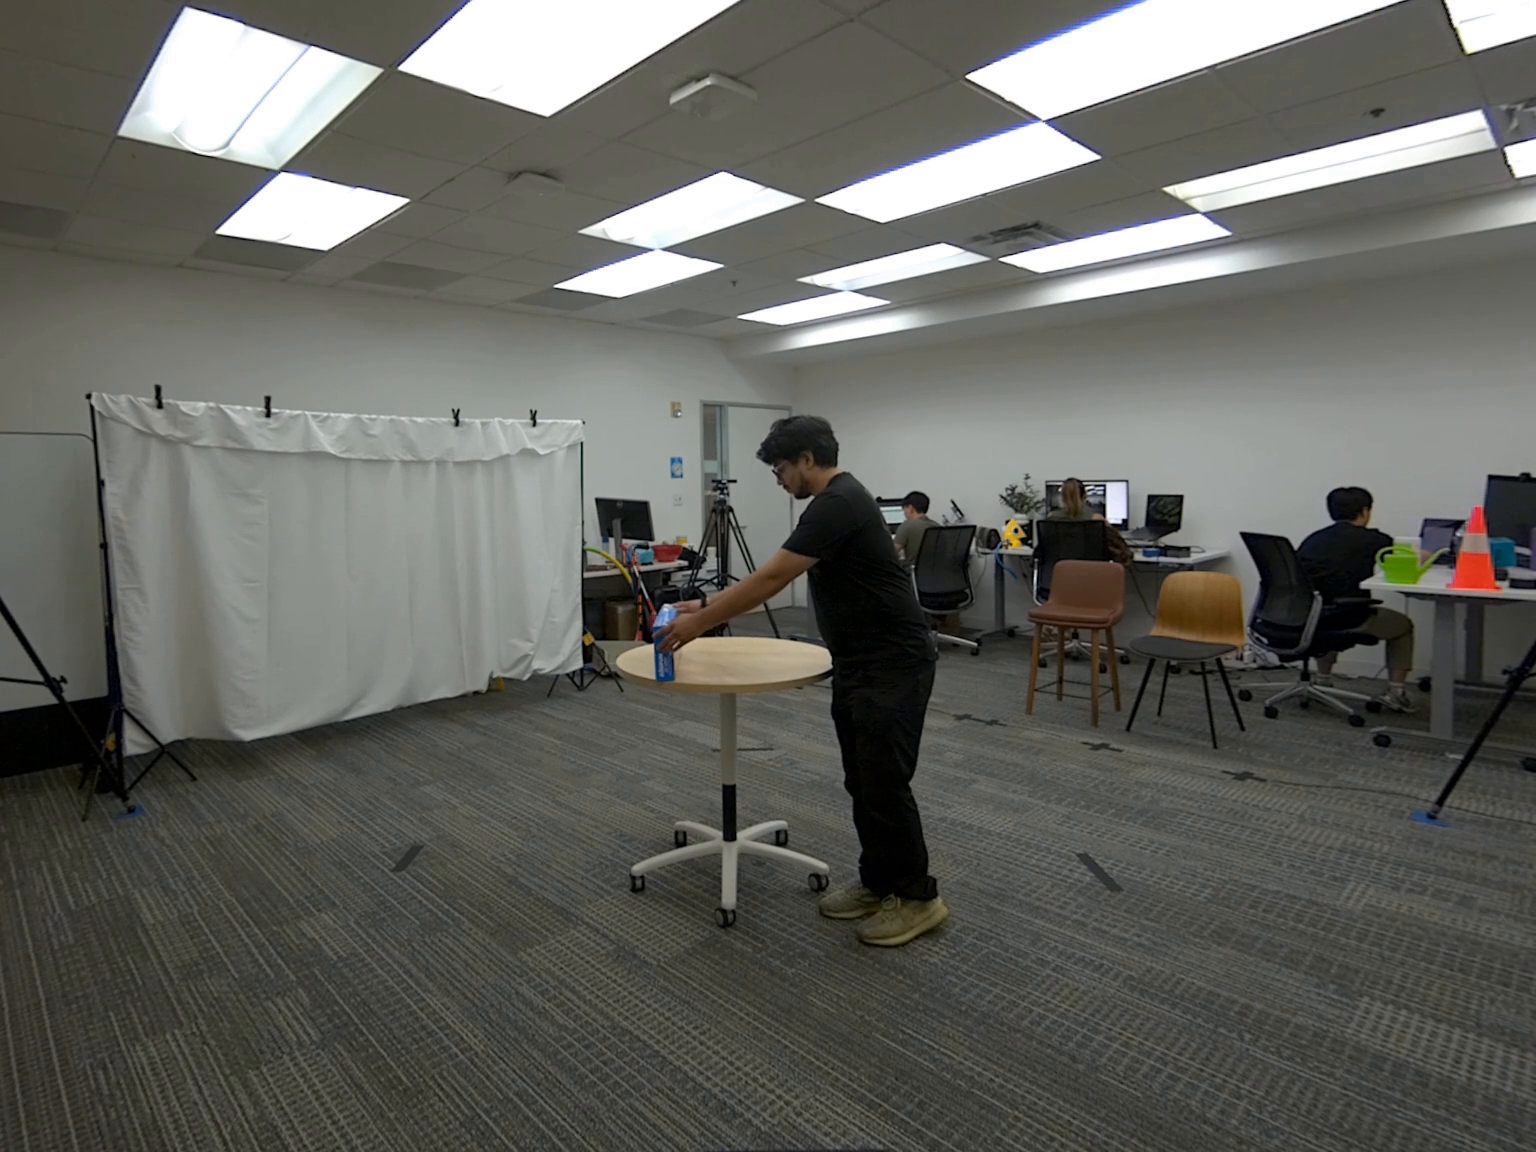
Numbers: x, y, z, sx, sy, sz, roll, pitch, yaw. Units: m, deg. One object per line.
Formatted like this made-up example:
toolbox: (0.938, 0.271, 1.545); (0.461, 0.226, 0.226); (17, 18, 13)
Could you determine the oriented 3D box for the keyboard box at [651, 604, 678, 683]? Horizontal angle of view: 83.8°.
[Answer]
keyboard box: (-0.325, 0.208, 2.828); (0.059, 0.175, 0.439); (-3, 6, -3)
